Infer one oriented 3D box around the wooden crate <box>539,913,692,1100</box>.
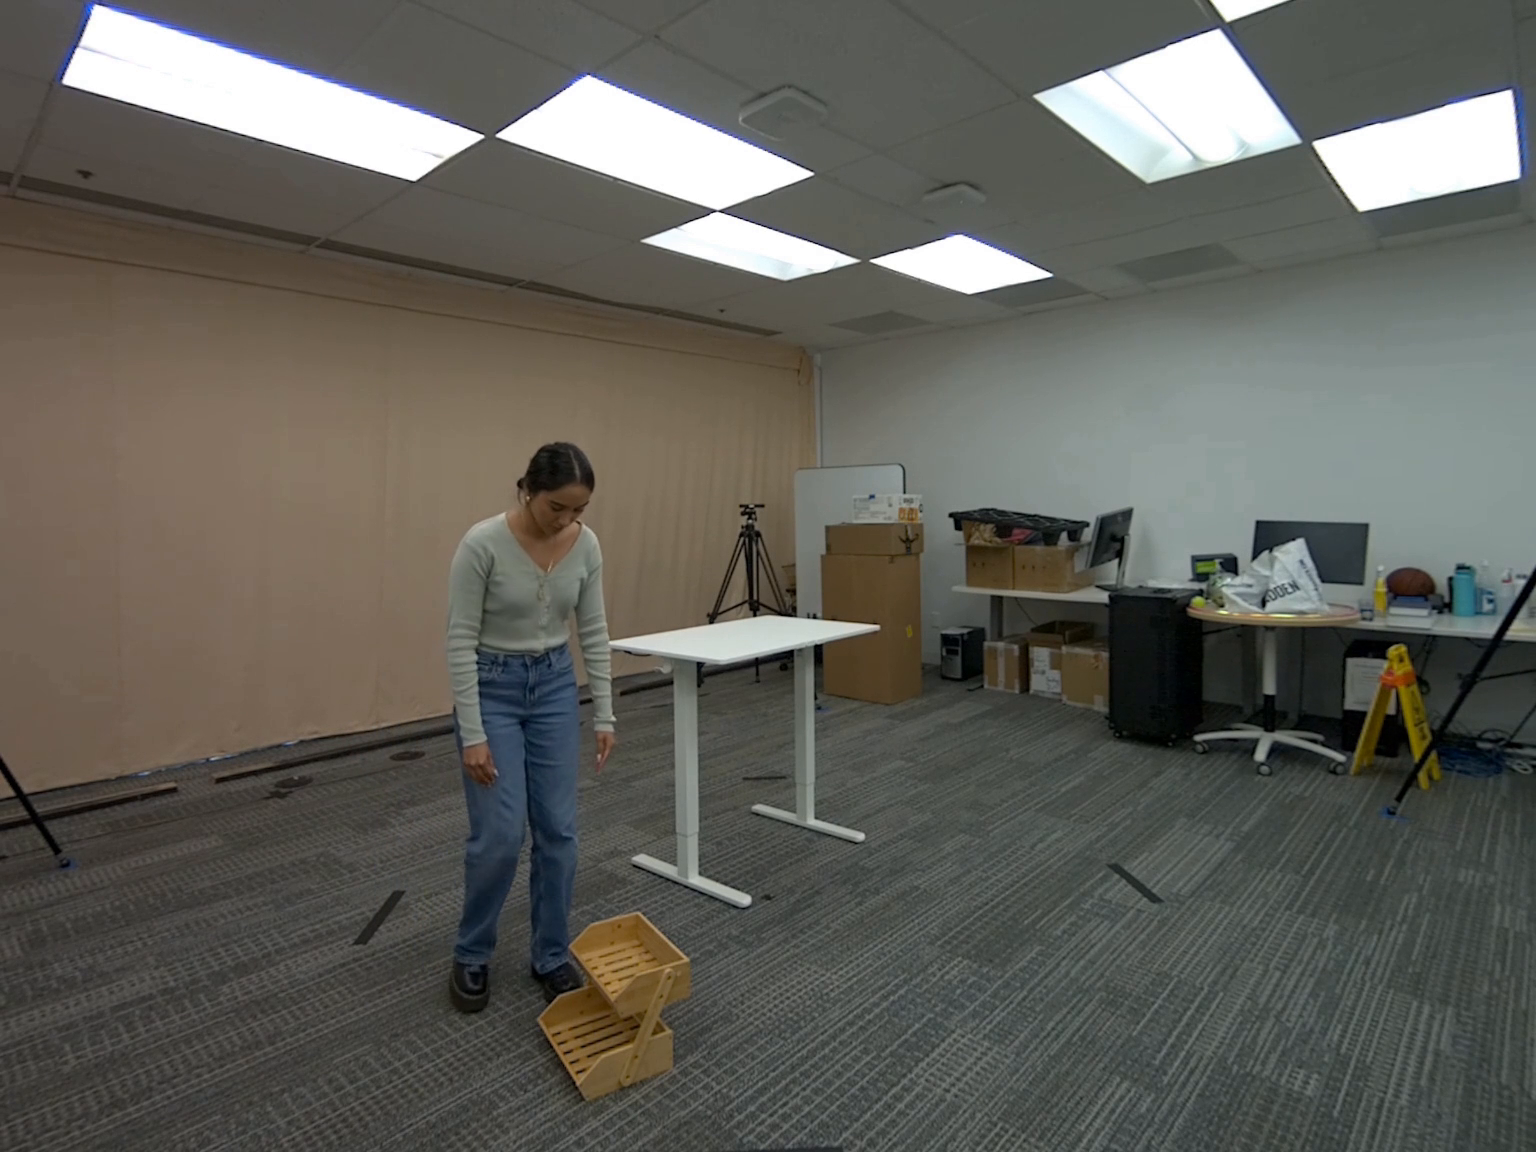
[{"bbox_3d":[-0.403,1.086,2.157,0.293,0.273,0.334,-2,3,-33],"label":"wooden crate"}]
